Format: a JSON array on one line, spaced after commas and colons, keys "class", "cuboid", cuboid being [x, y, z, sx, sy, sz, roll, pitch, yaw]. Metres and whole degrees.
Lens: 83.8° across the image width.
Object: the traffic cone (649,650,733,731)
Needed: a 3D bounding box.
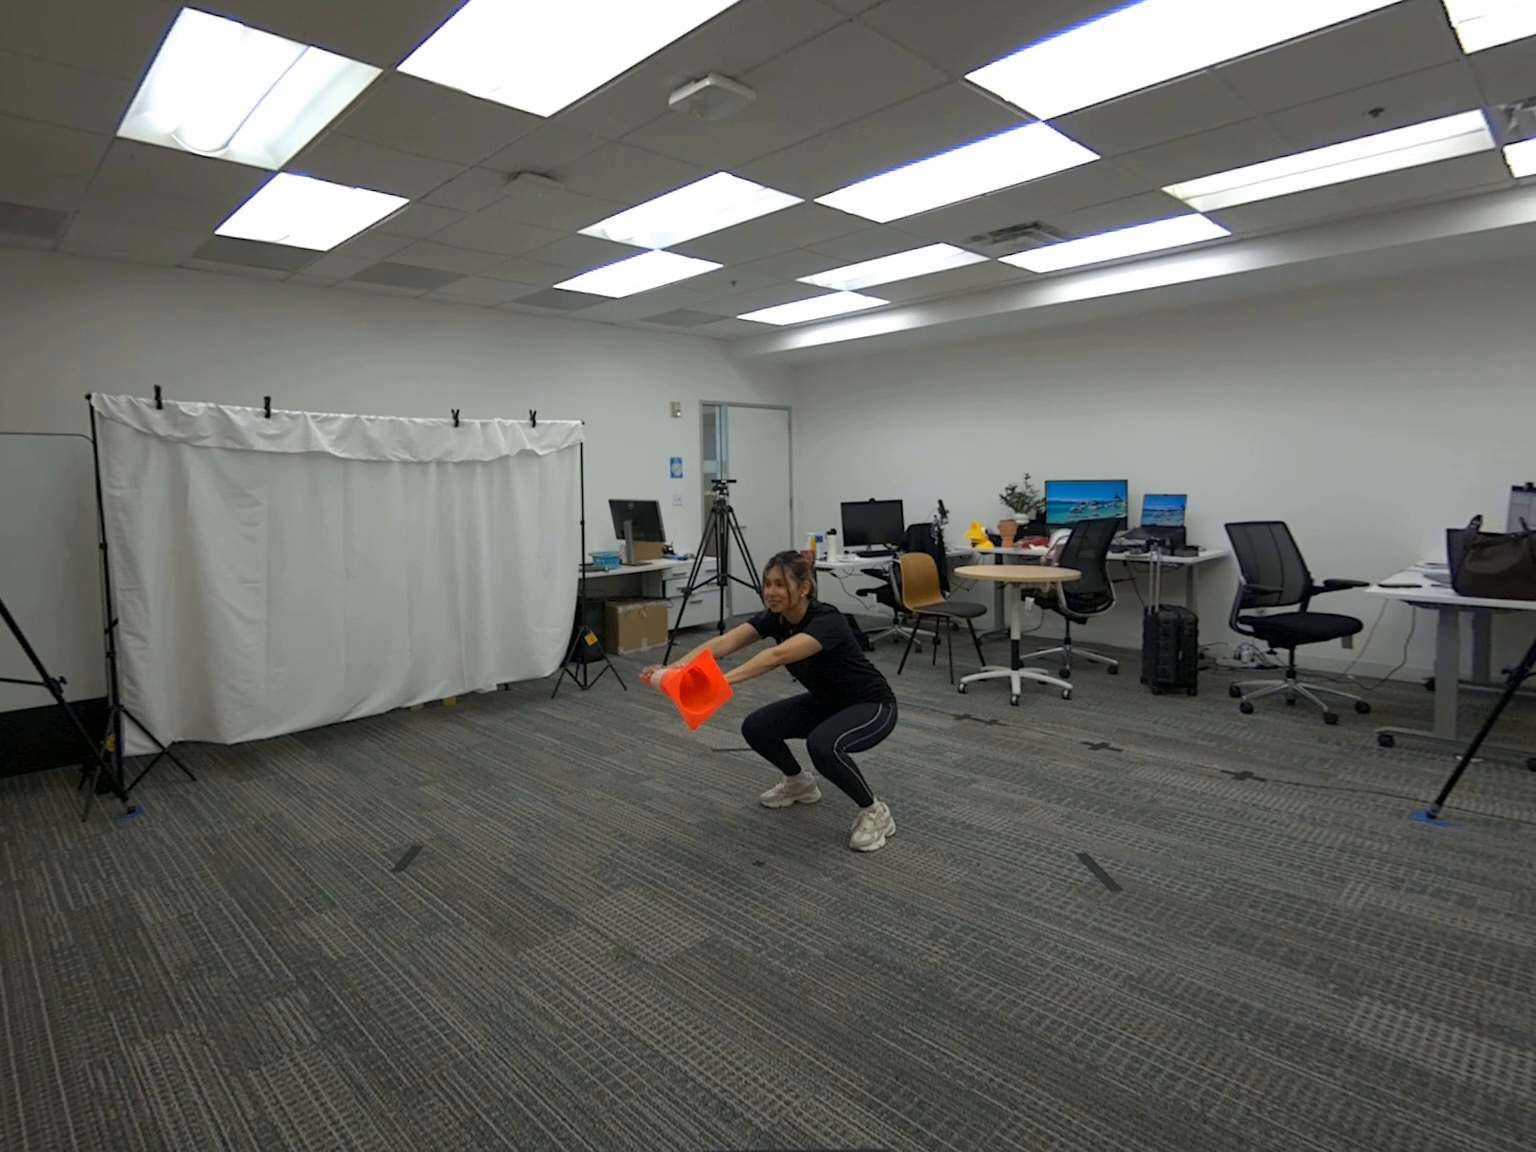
[{"class": "traffic cone", "cuboid": [-0.333, 0.360, 2.959, 0.202, 0.201, 0.394, -39, 21, -29]}]
